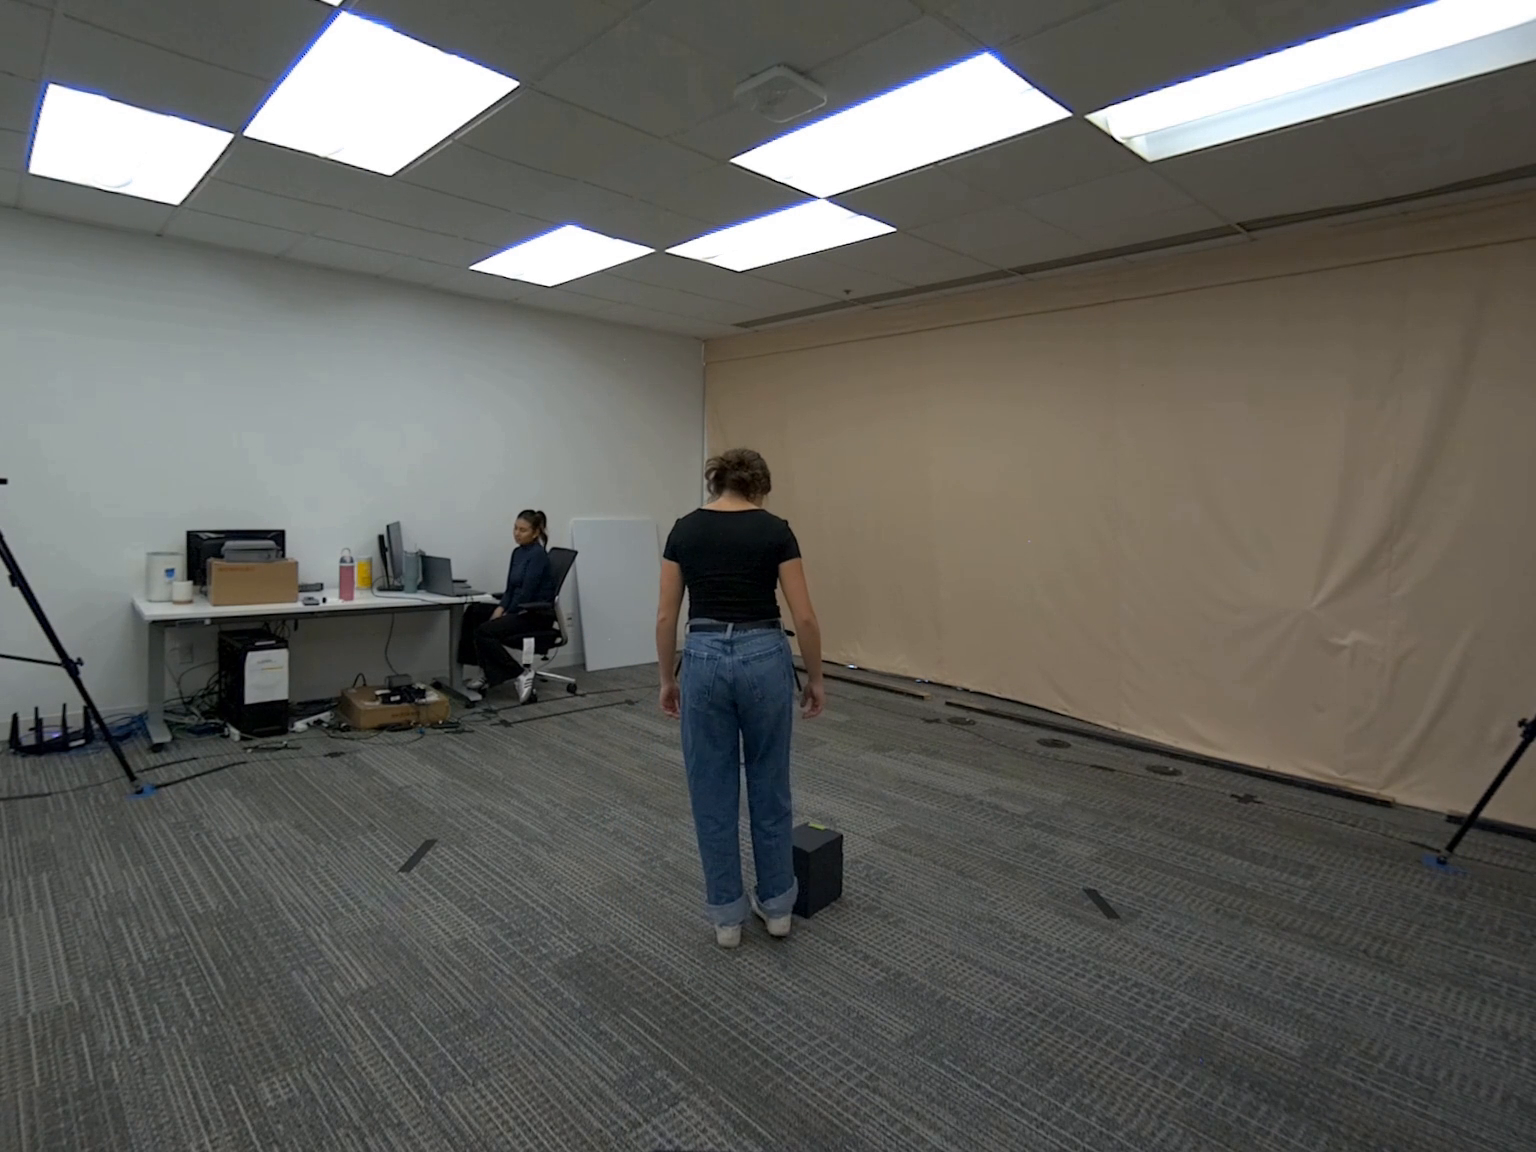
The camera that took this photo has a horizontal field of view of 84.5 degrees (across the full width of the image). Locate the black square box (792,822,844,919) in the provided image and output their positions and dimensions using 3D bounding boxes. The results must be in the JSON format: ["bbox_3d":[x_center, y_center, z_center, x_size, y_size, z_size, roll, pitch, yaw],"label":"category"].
[{"bbox_3d":[0.134,1.009,2.914,0.160,0.227,0.212,4,4,38],"label":"black square box"}]
